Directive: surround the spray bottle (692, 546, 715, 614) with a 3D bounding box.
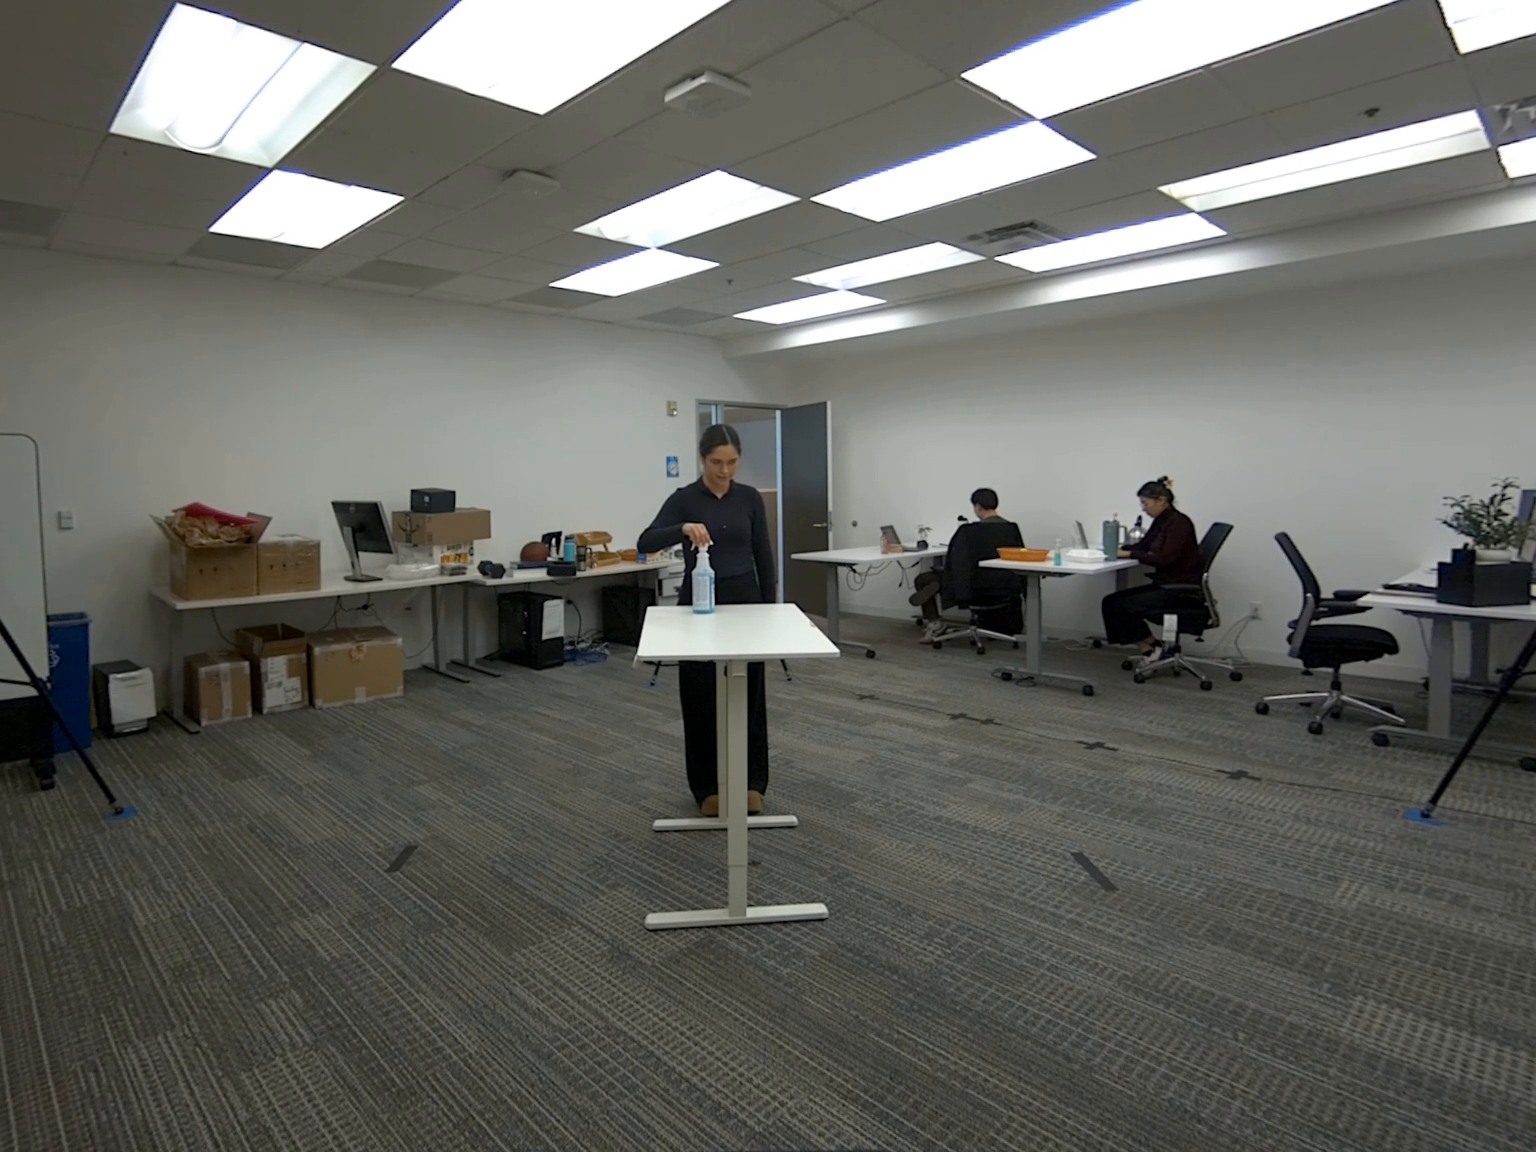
[{"bbox_3d":[-0.246,-0.004,3.322,0.092,0.297,0.084,0,1,45],"label":"spray bottle"}]
